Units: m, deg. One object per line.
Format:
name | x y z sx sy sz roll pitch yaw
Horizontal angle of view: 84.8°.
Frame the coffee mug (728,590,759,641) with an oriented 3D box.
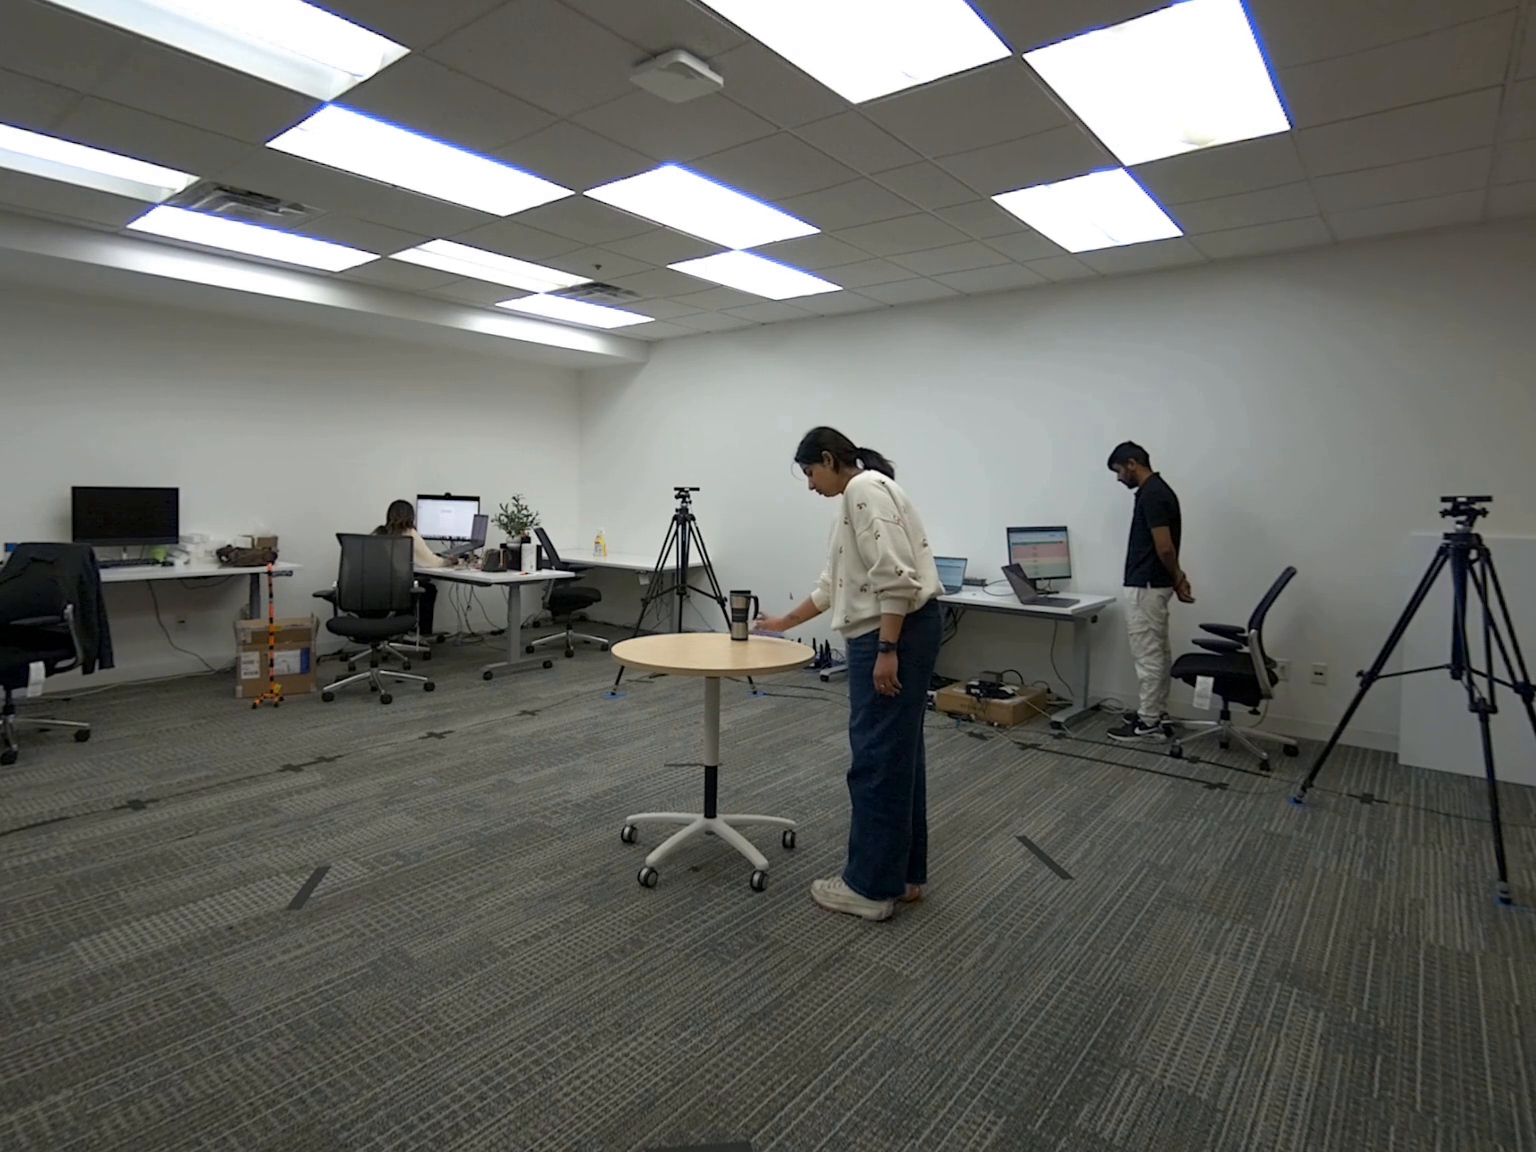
coffee mug | -0.130 0.154 3.460 0.085 0.202 0.126 -3 7 -35
